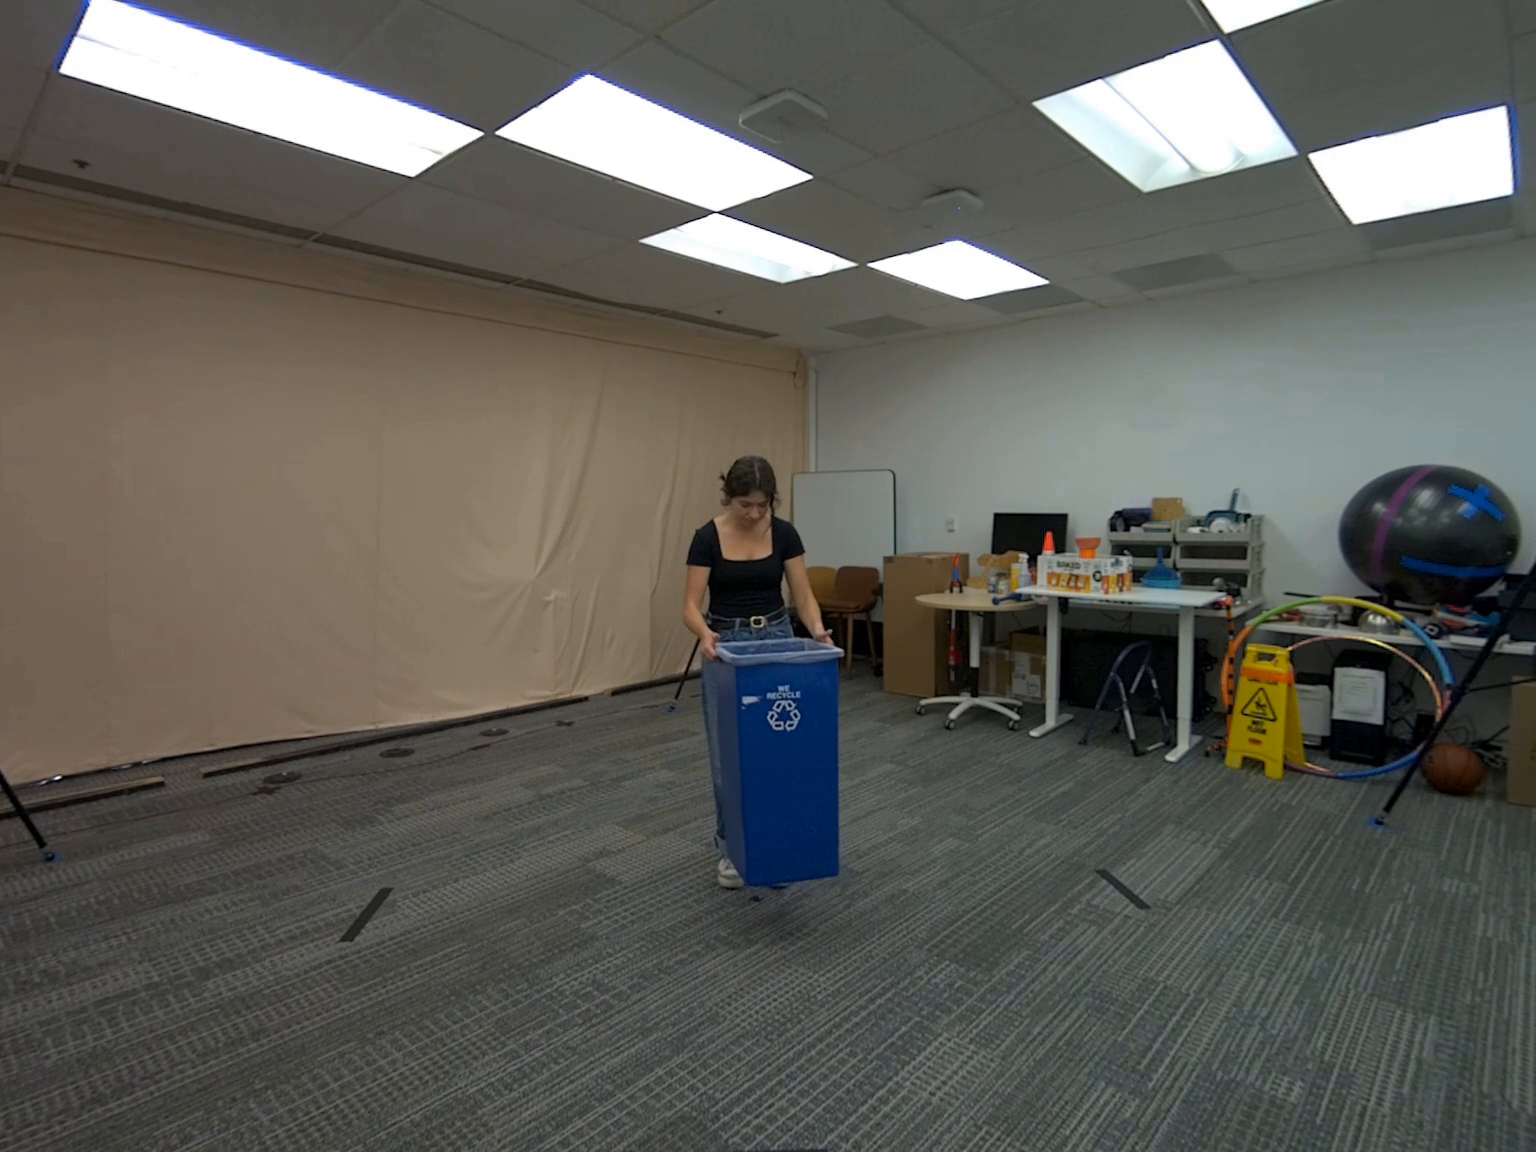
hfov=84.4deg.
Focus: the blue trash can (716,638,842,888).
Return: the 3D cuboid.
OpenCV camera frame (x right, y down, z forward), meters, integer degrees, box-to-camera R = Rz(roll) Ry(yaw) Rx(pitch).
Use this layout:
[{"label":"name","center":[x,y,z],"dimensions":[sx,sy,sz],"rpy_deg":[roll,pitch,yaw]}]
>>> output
[{"label":"blue trash can","center":[0.037,0.596,2.748],"dimensions":[0.369,0.713,0.384],"rpy_deg":[-3,2,-14]}]
